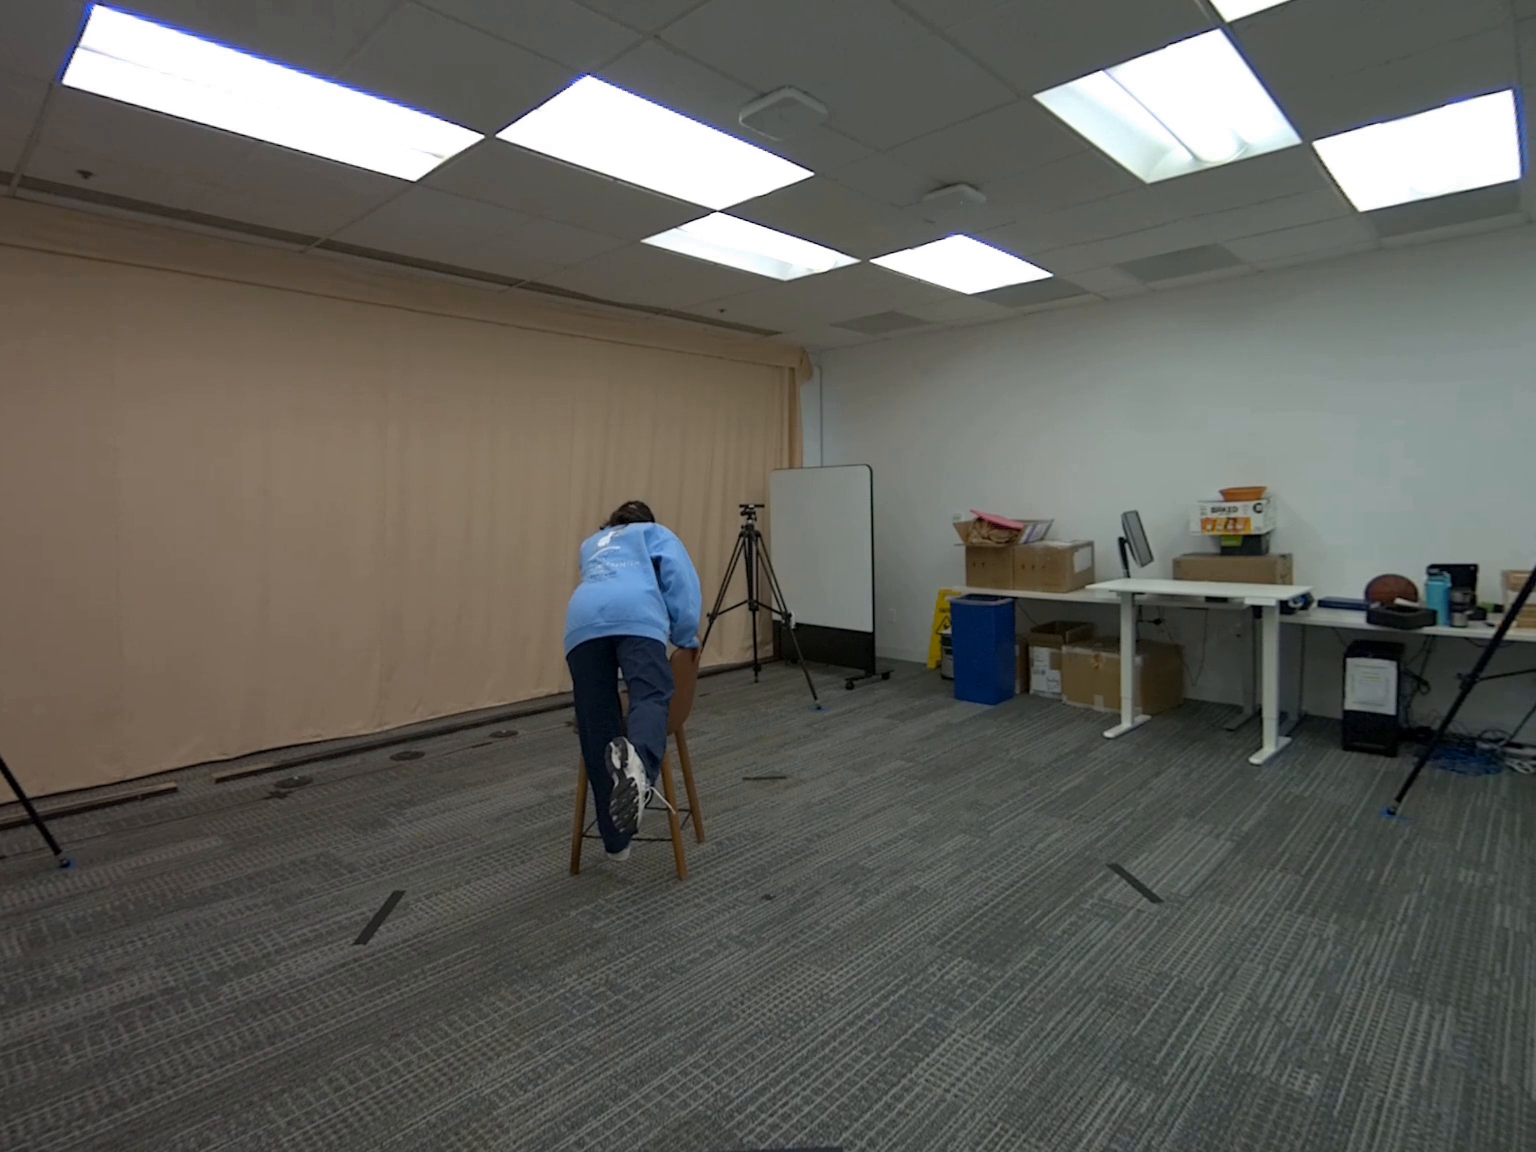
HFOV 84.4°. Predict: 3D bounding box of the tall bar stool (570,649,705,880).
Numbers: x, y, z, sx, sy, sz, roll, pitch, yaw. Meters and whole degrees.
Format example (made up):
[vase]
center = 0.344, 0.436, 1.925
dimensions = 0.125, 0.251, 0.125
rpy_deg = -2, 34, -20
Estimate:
[tall bar stool]
center = -0.514, 0.687, 3.342
dimensions = 0.473, 0.888, 0.452
rpy_deg = 1, 3, 10
